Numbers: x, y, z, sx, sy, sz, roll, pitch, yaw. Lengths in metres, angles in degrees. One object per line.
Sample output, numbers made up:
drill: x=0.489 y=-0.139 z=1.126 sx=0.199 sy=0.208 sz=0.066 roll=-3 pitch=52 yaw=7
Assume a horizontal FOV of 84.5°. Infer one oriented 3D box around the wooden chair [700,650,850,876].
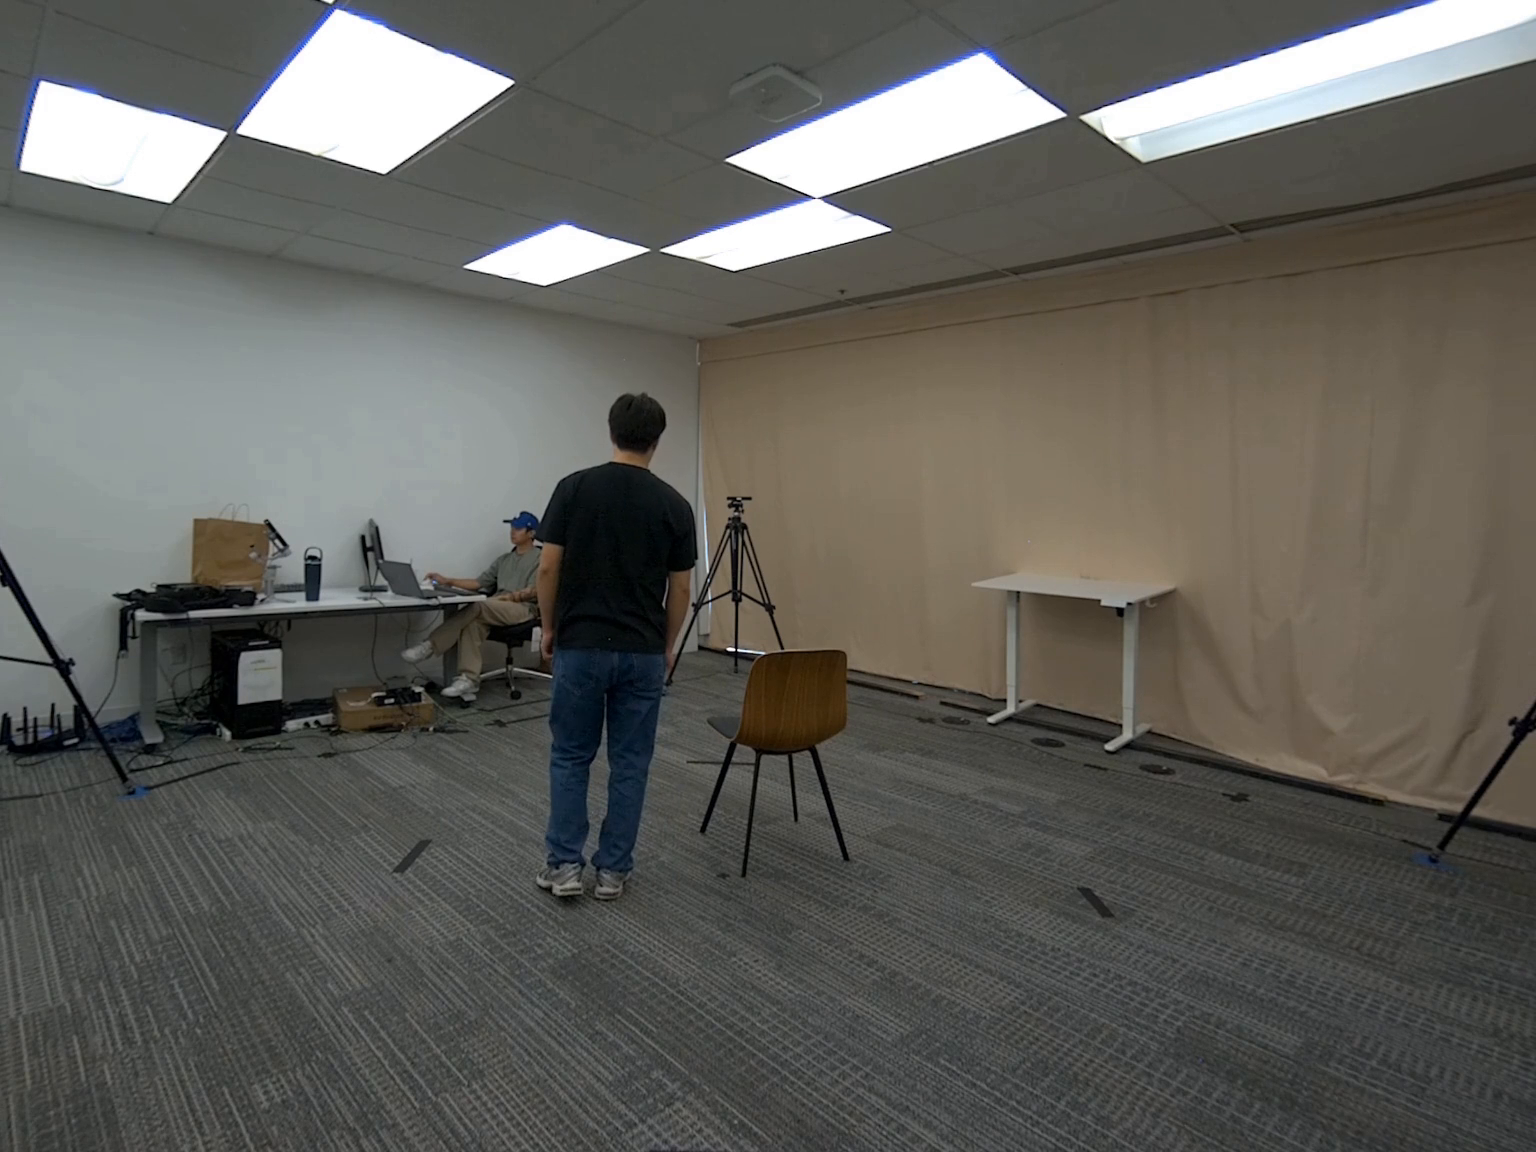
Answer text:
wooden chair: x=0.020 y=0.660 z=3.357 sx=0.470 sy=0.873 sz=0.535 roll=0 pitch=8 yaw=-24
